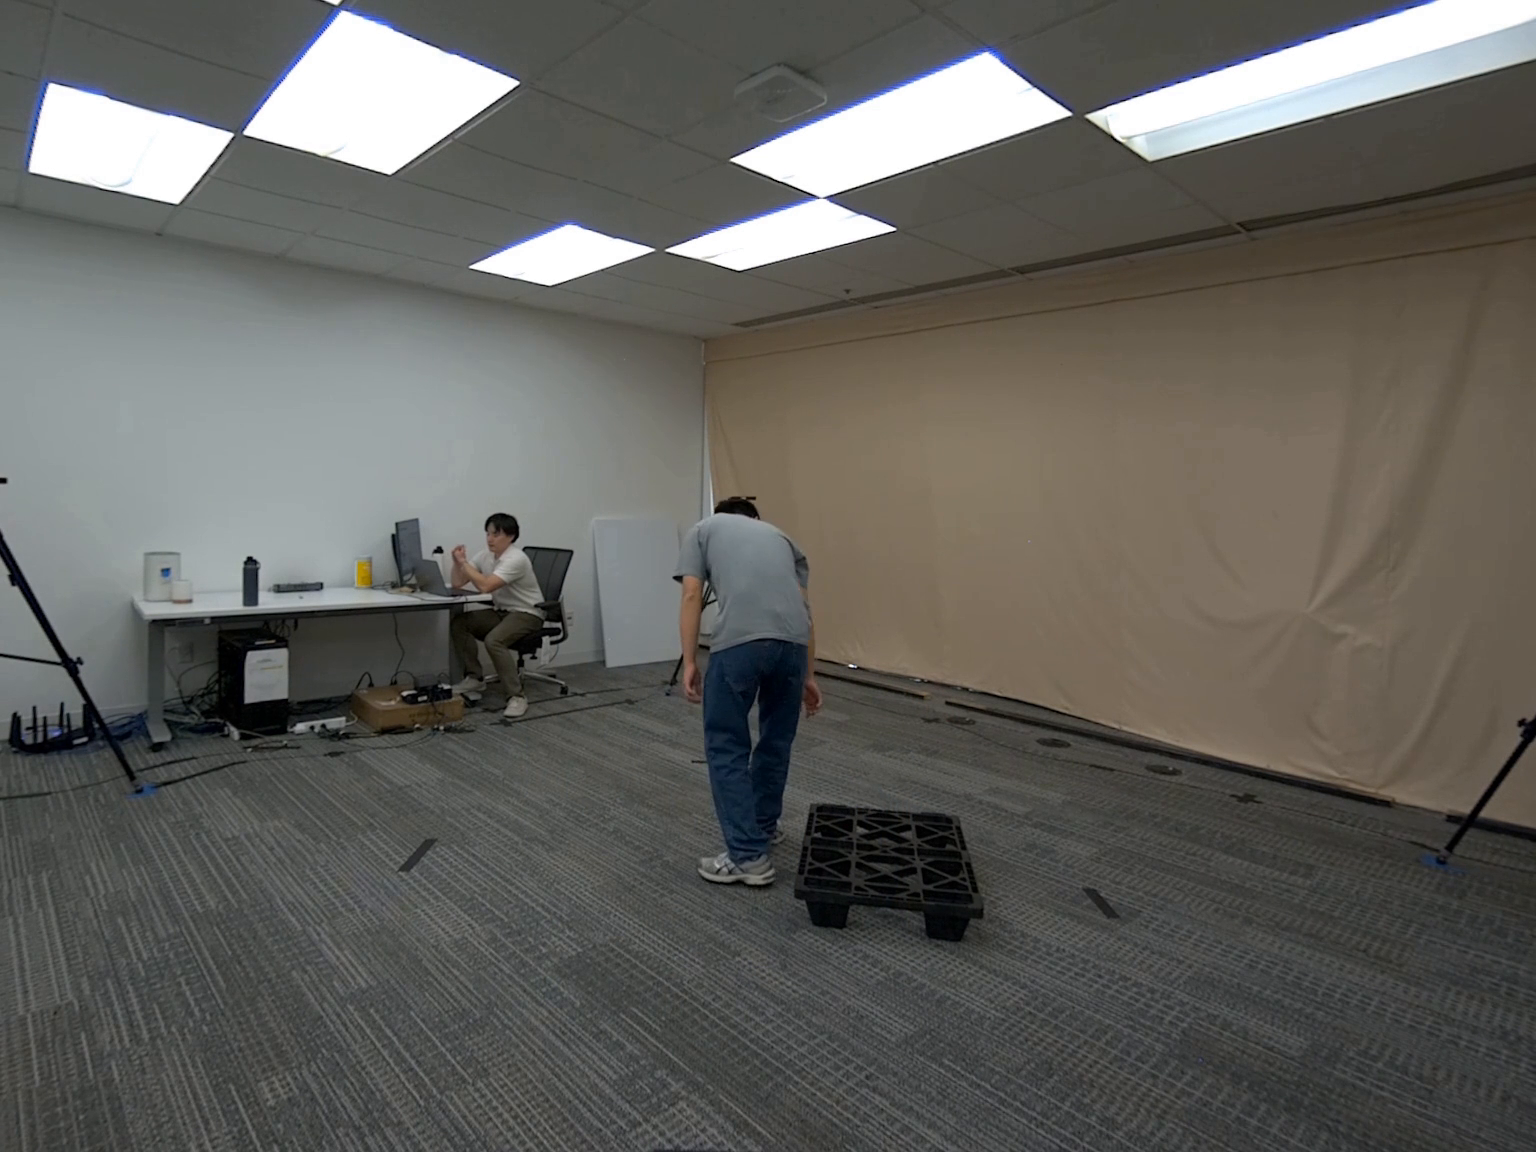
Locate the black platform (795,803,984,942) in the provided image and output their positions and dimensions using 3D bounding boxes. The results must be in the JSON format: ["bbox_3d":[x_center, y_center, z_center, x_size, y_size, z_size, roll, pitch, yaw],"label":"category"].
[{"bbox_3d":[0.412,1.051,3.061,0.610,0.143,0.802,2,5,8],"label":"black platform"}]
